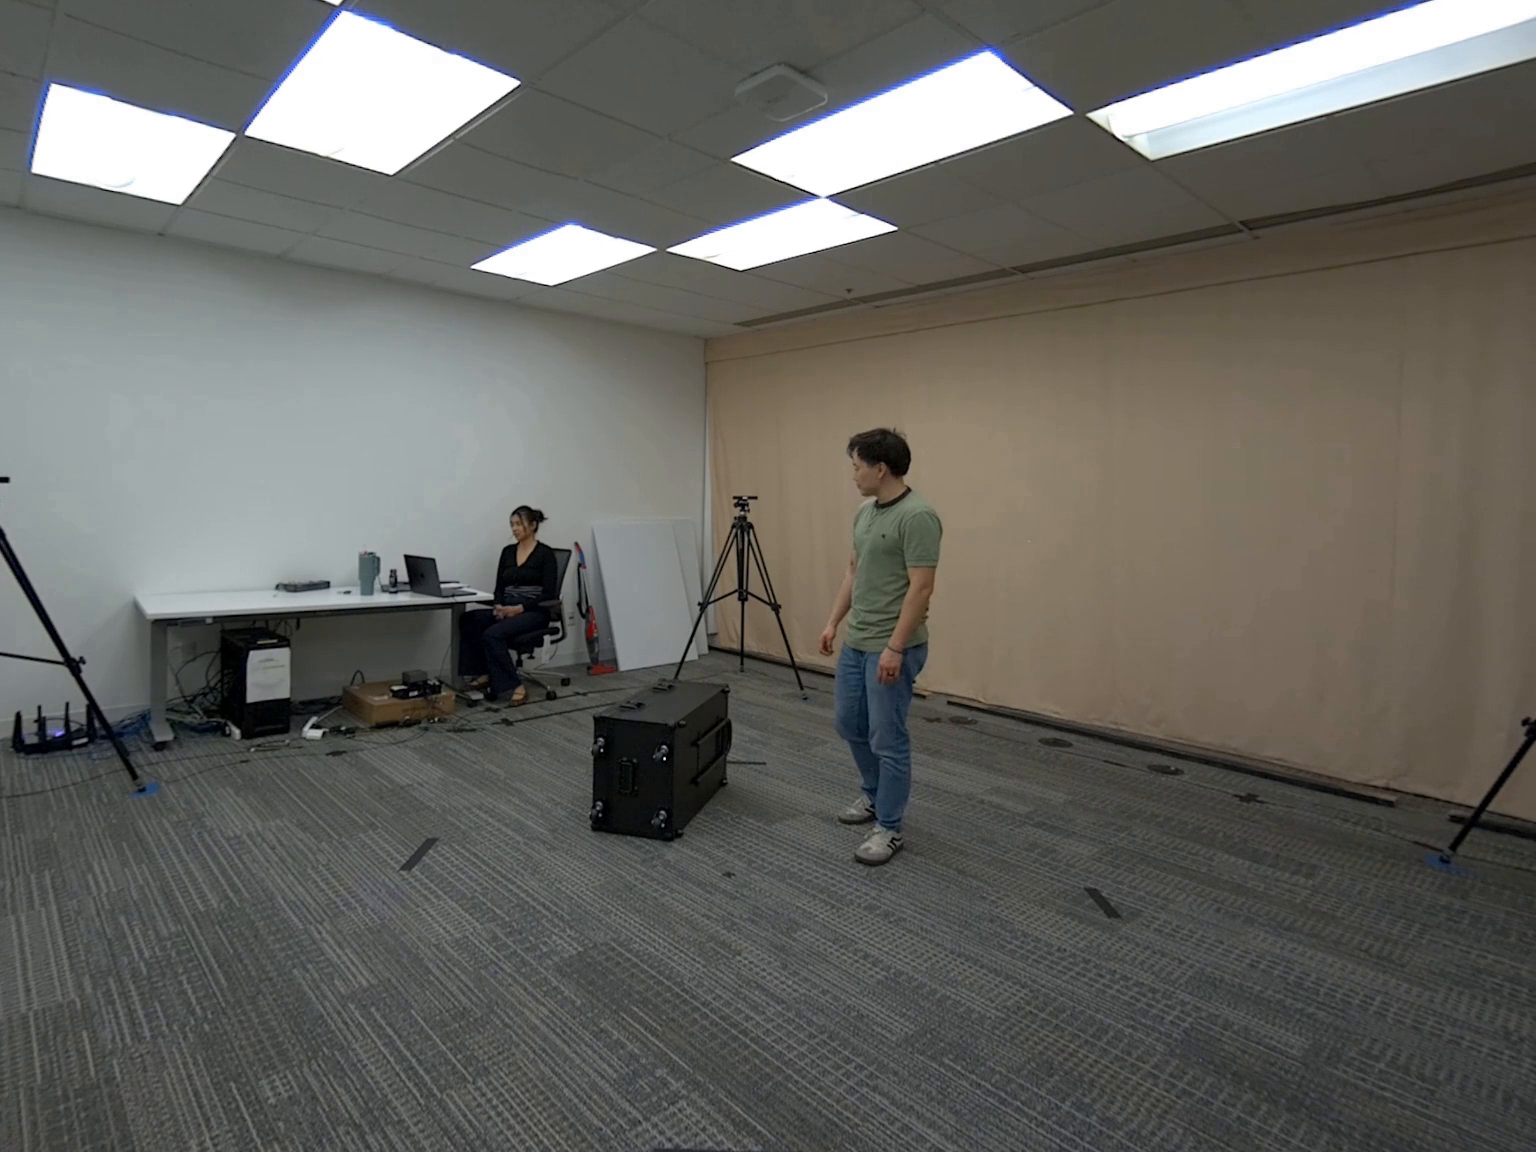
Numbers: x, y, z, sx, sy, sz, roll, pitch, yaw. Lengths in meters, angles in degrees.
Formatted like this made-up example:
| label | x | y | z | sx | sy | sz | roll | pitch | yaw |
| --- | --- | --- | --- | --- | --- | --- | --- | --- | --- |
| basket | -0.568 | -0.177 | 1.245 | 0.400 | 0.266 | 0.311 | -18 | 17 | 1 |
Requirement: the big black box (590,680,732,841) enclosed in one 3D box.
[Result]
| label | x | y | z | sx | sy | sz | roll | pitch | yaw |
| --- | --- | --- | --- | --- | --- | --- | --- | --- | --- |
| big black box | -0.445 | 0.780 | 3.810 | 0.401 | 0.520 | 0.854 | 3 | 5 | 12 |
